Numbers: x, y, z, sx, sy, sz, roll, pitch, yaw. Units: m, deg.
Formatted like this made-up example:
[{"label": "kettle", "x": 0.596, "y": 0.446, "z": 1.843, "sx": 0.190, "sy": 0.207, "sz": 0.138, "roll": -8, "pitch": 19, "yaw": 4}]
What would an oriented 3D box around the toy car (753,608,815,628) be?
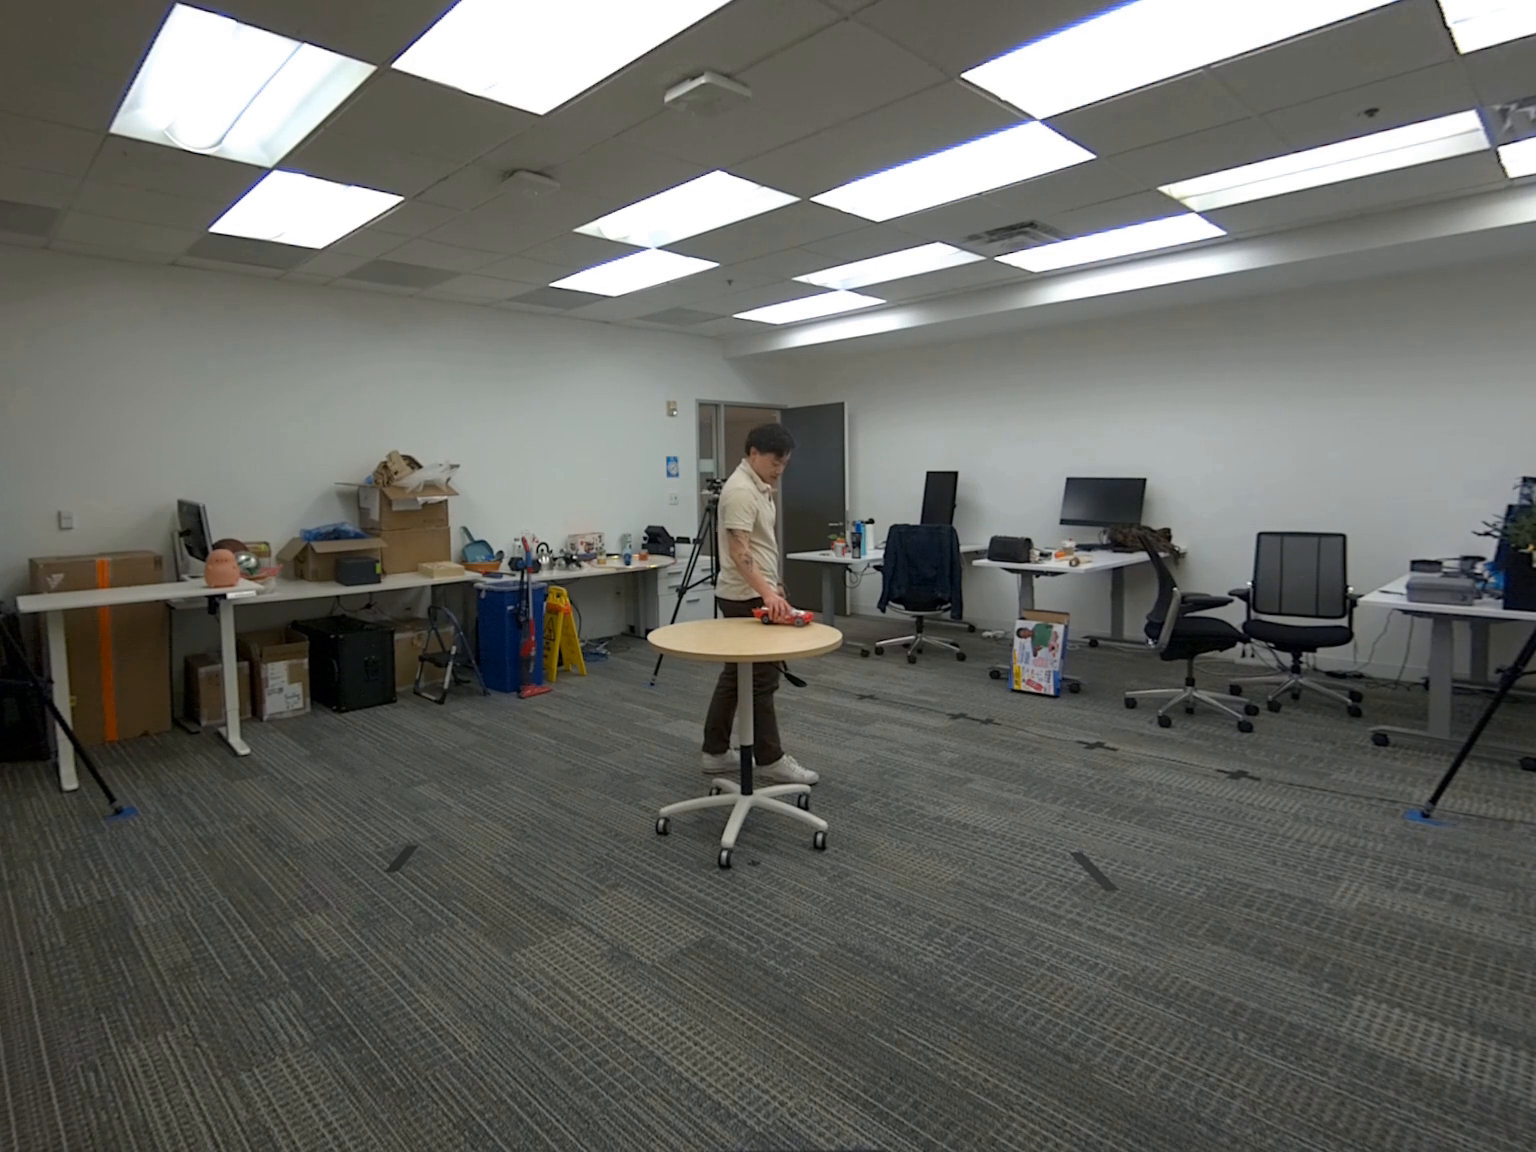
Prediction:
[{"label": "toy car", "x": 0.053, "y": 0.174, "z": 3.601, "sx": 0.261, "sy": 0.083, "sz": 0.128, "roll": 14, "pitch": 10, "yaw": 21}]
